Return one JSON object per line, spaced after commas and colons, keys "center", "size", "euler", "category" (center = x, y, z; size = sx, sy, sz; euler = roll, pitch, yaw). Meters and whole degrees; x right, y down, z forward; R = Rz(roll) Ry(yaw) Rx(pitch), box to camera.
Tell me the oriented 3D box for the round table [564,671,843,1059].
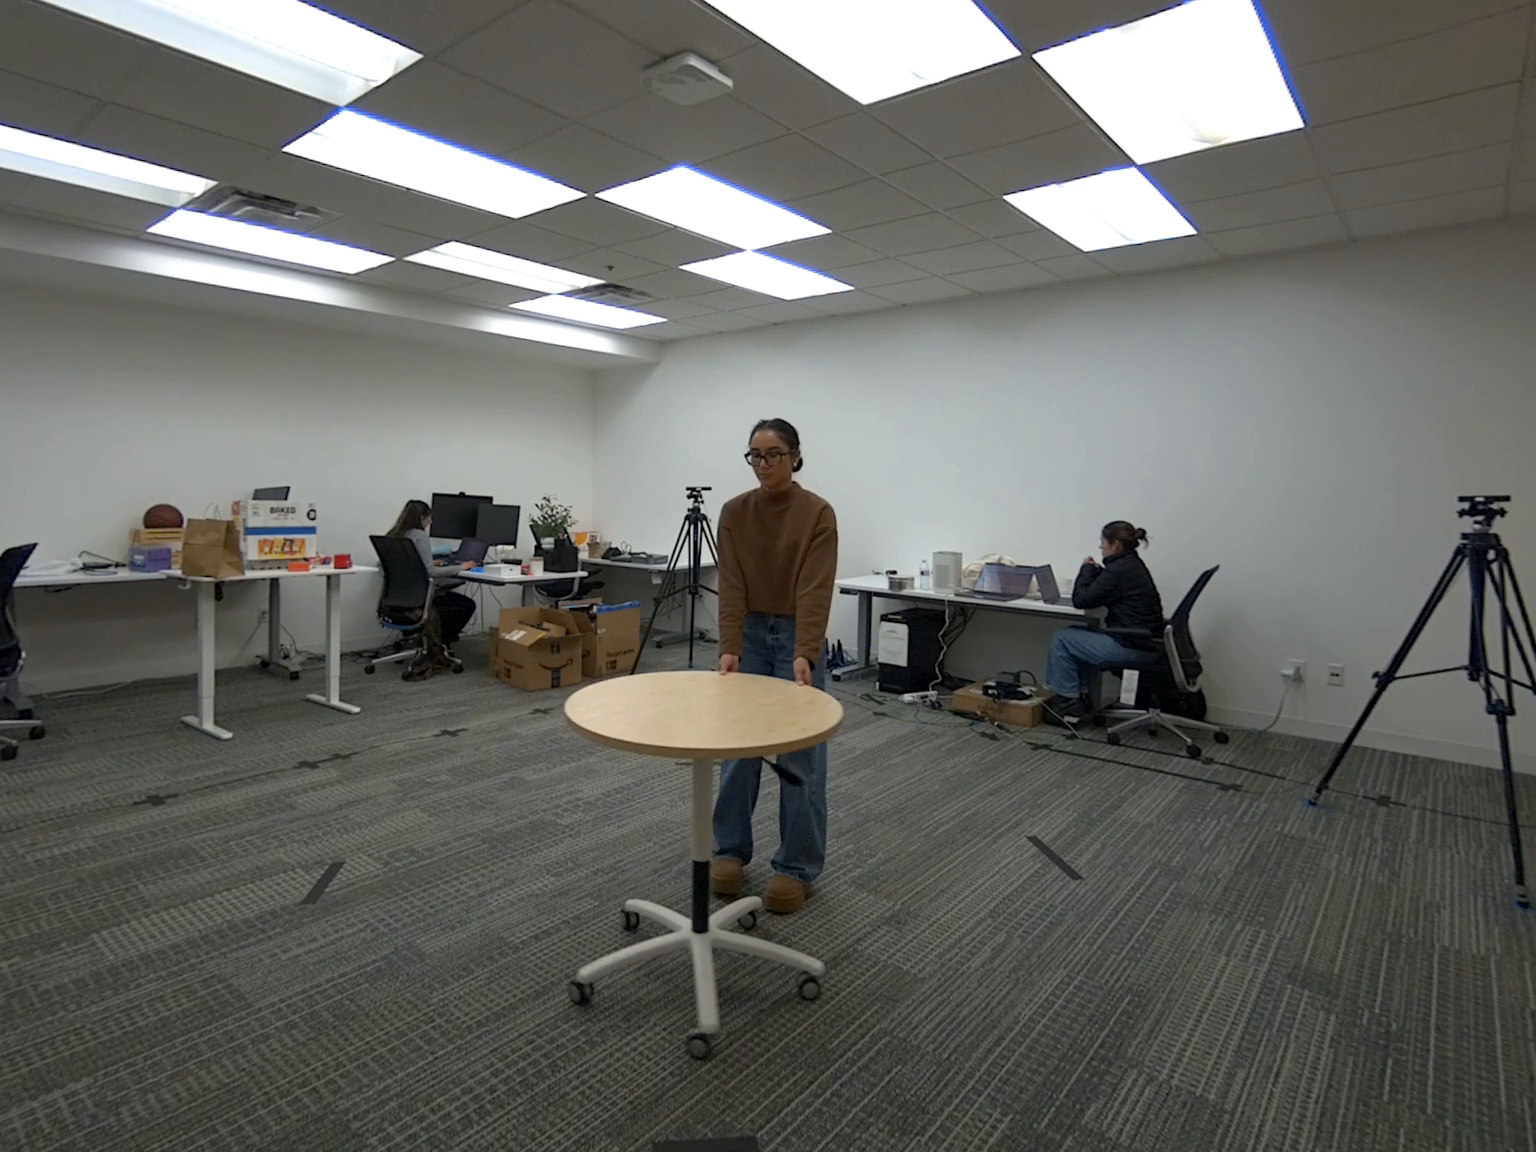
{"center": [-0.202, 0.737, 2.425], "size": [0.784, 0.783, 0.790], "euler": [1, 5, -2], "category": "round table"}
